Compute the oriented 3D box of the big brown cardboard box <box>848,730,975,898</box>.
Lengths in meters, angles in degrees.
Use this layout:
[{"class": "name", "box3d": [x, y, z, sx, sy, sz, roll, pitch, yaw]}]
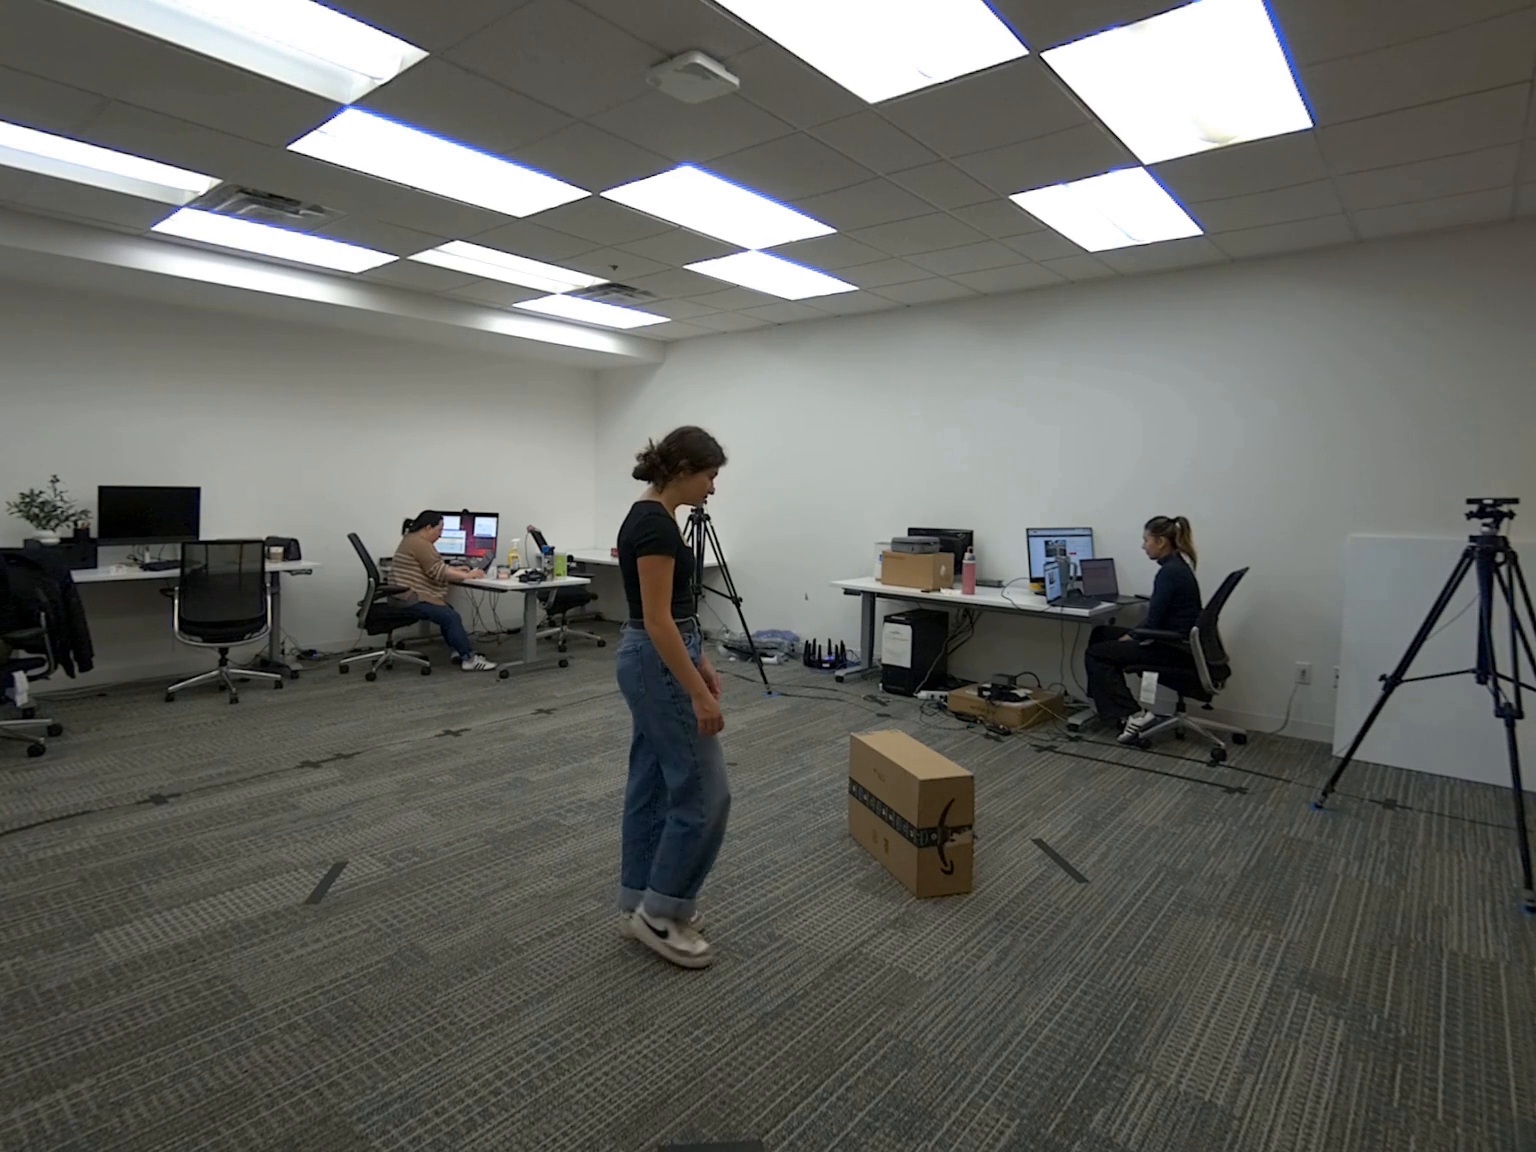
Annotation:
[{"class": "big brown cardboard box", "box3d": [0.516, 0.863, 3.207, 0.229, 0.416, 0.602, -1, 6, -18]}]
